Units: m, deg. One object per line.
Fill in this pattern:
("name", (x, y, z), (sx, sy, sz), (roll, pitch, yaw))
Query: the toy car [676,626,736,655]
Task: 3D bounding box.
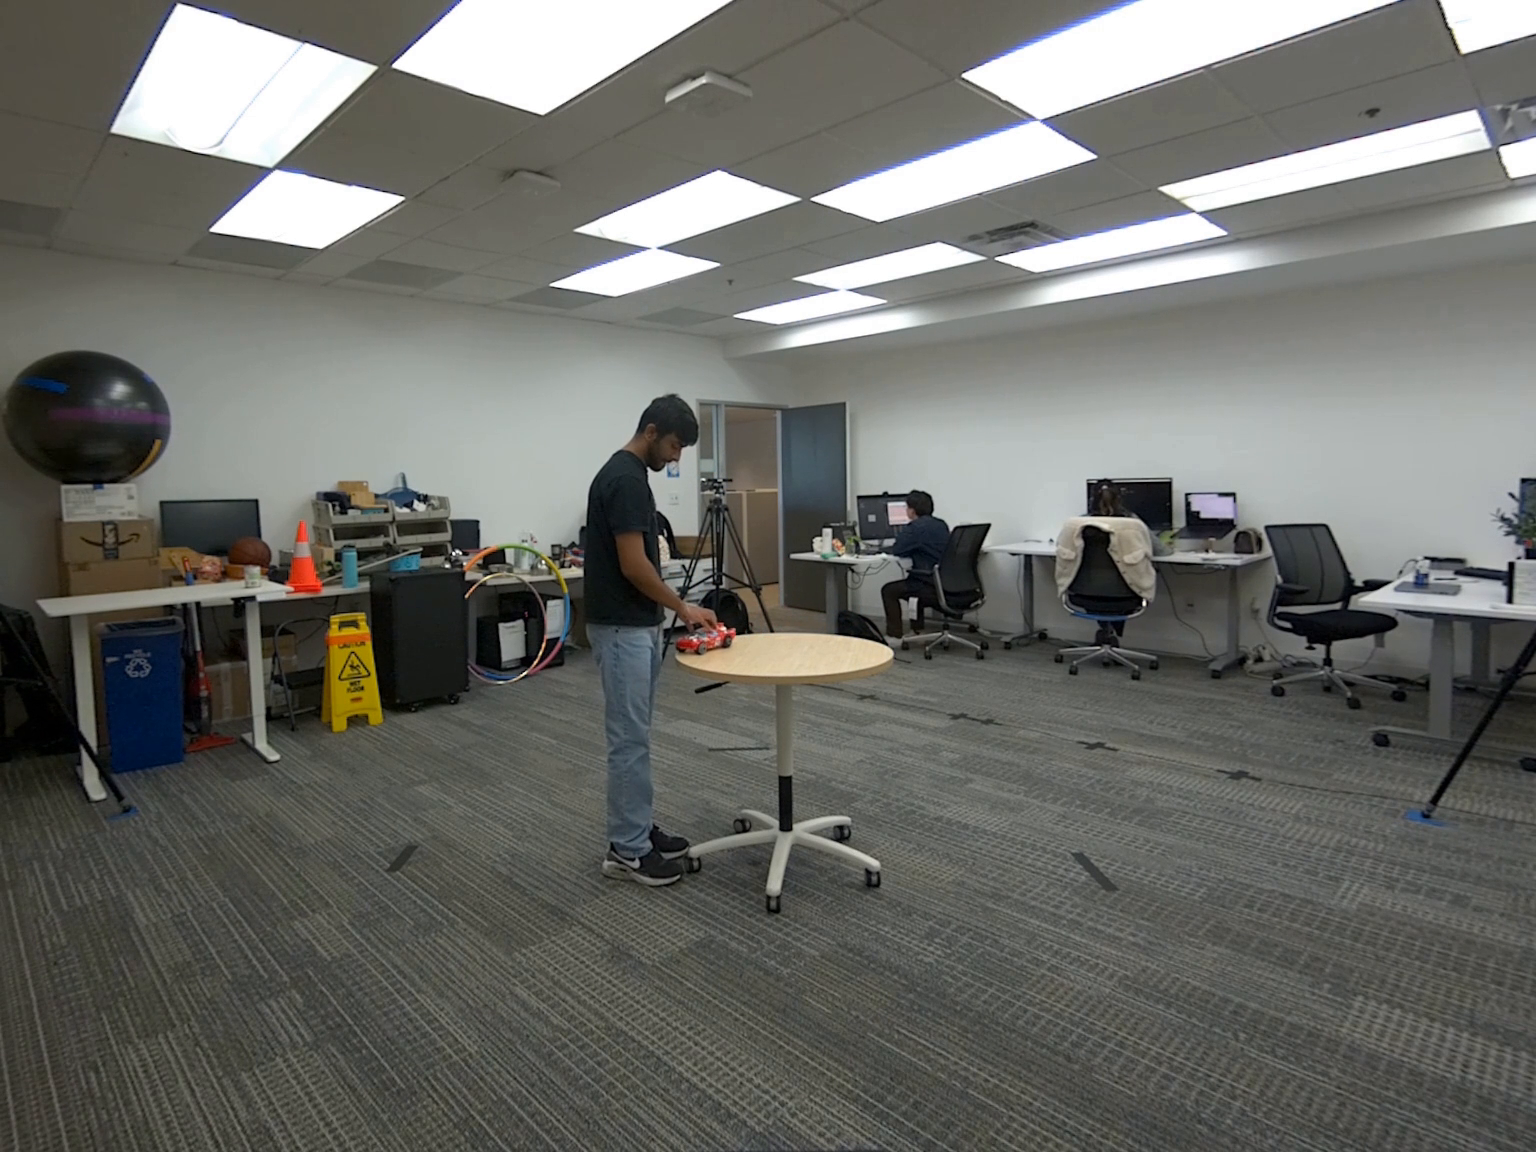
("toy car", (-0.219, 0.232, 3.108), (0.134, 0.082, 0.251), (2, 18, 37))
